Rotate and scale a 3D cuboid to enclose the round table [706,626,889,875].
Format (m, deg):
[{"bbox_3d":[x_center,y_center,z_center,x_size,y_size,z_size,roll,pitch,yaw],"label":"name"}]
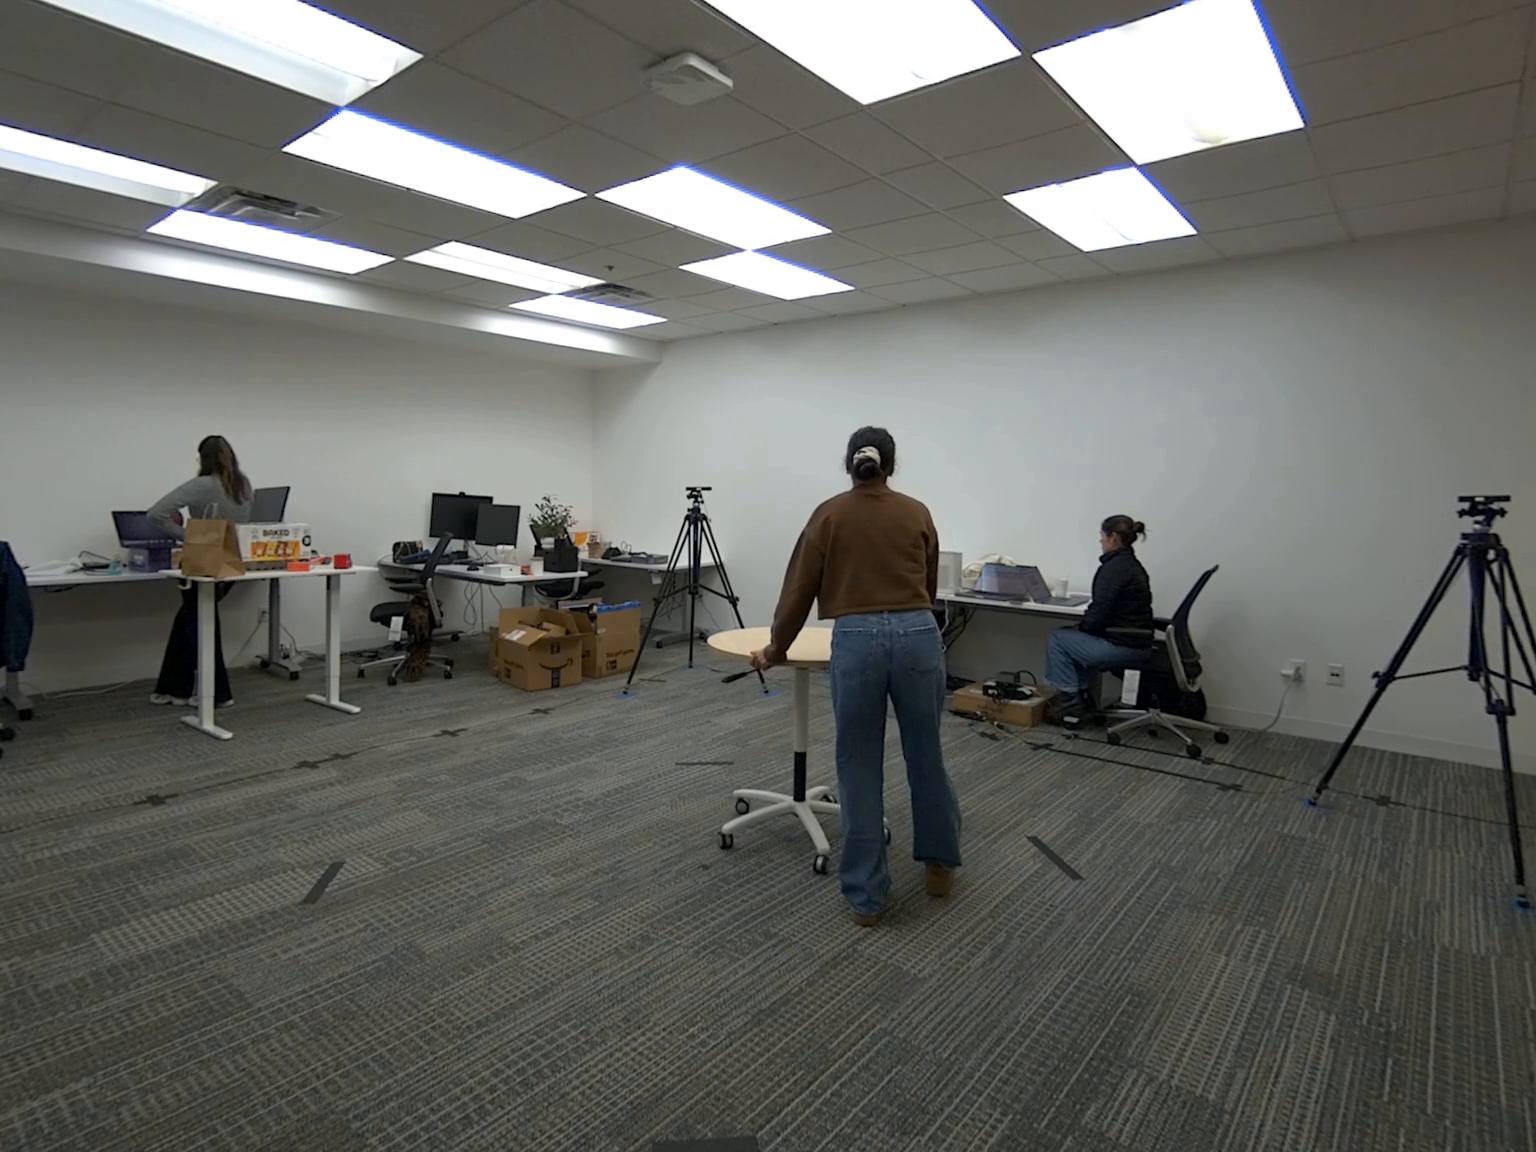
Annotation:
[{"bbox_3d":[0.104,0.647,3.410,0.784,0.784,0.789,1,4,-2],"label":"round table"}]
